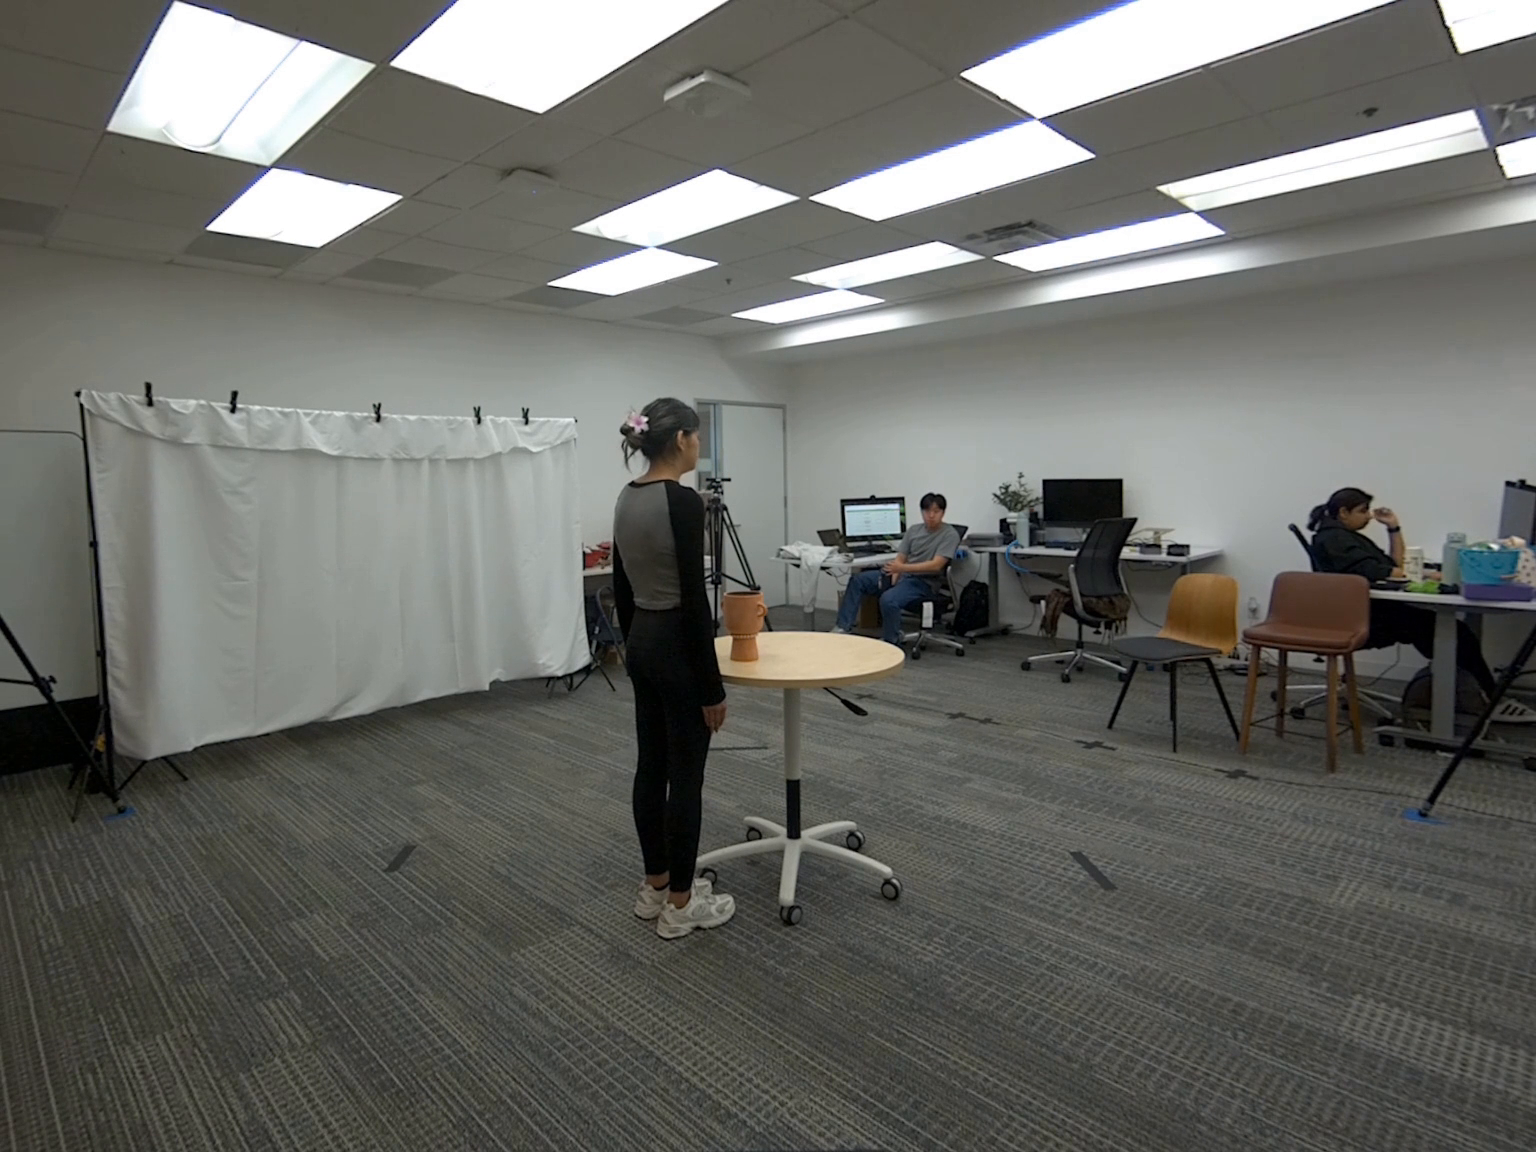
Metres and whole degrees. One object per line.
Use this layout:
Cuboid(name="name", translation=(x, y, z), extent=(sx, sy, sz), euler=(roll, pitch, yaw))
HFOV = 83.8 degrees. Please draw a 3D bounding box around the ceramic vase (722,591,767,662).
Cuboid(name="ceramic vase", translation=(-0.079, 0.170, 2.859), extent=(0.133, 0.219, 0.161), euler=(-1, 5, -10))
